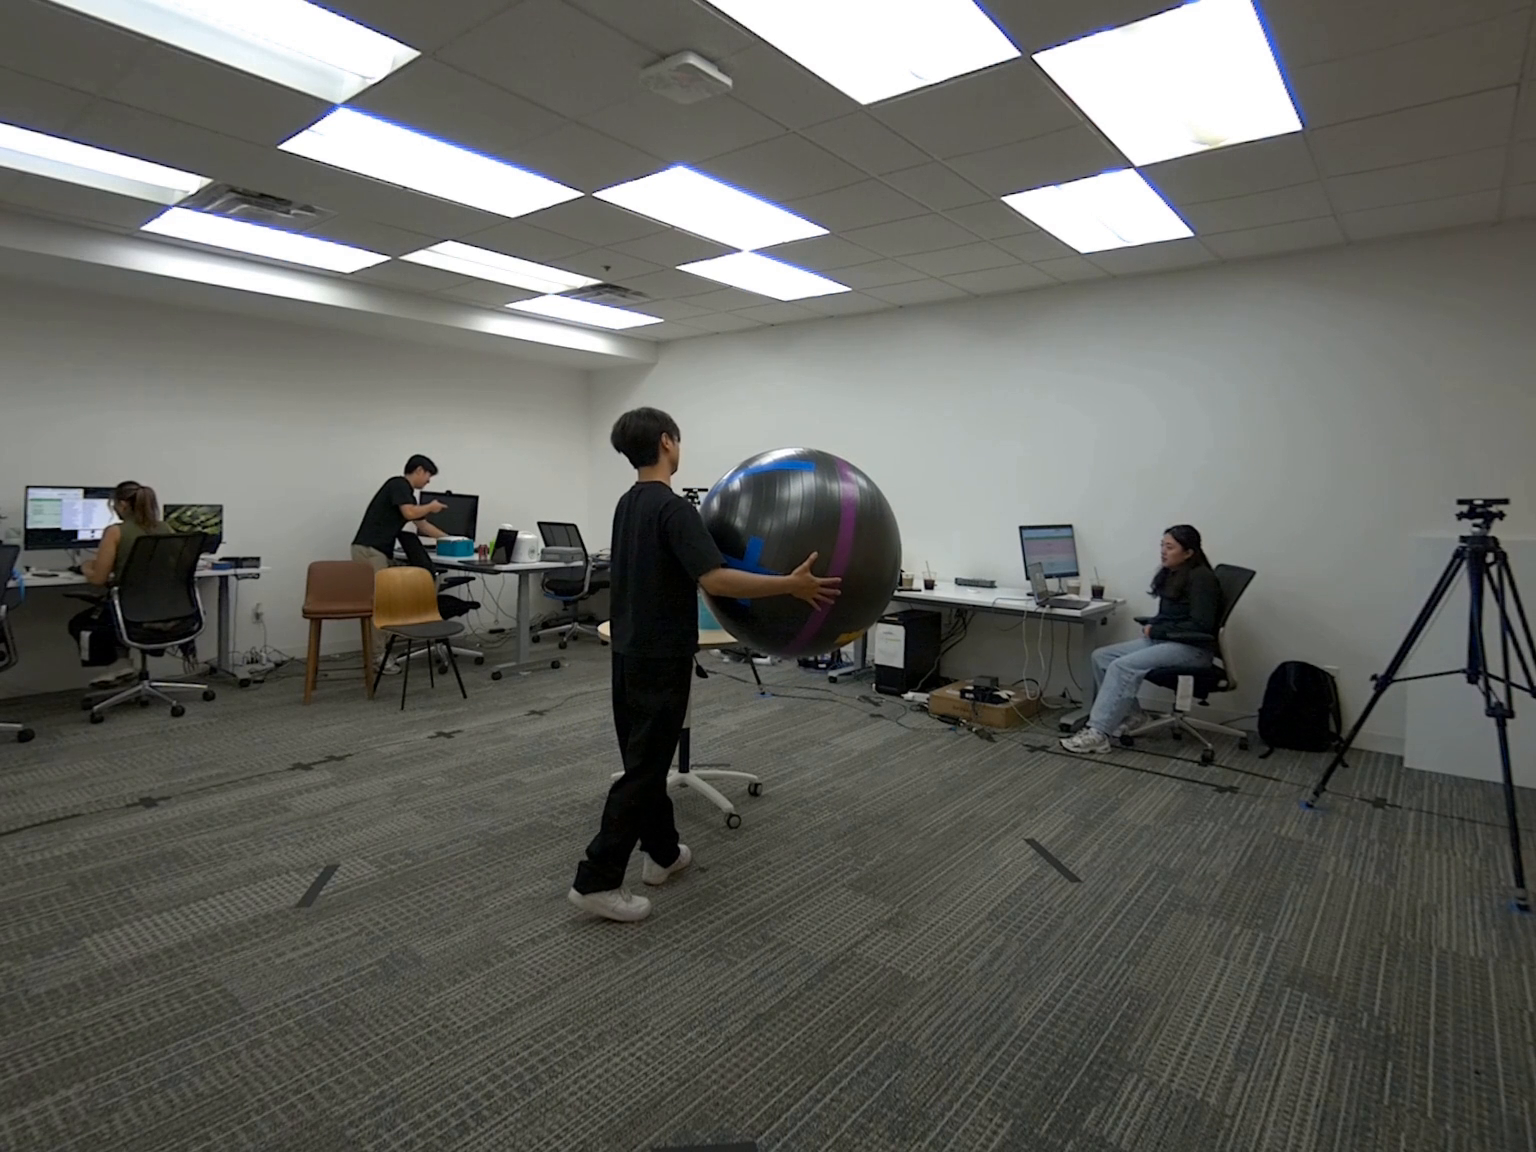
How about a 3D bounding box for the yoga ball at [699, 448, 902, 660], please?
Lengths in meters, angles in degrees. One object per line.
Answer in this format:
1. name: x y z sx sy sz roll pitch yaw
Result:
1. yoga ball: 0.092 -0.084 3.093 0.757 0.755 0.762 1 4 -2
